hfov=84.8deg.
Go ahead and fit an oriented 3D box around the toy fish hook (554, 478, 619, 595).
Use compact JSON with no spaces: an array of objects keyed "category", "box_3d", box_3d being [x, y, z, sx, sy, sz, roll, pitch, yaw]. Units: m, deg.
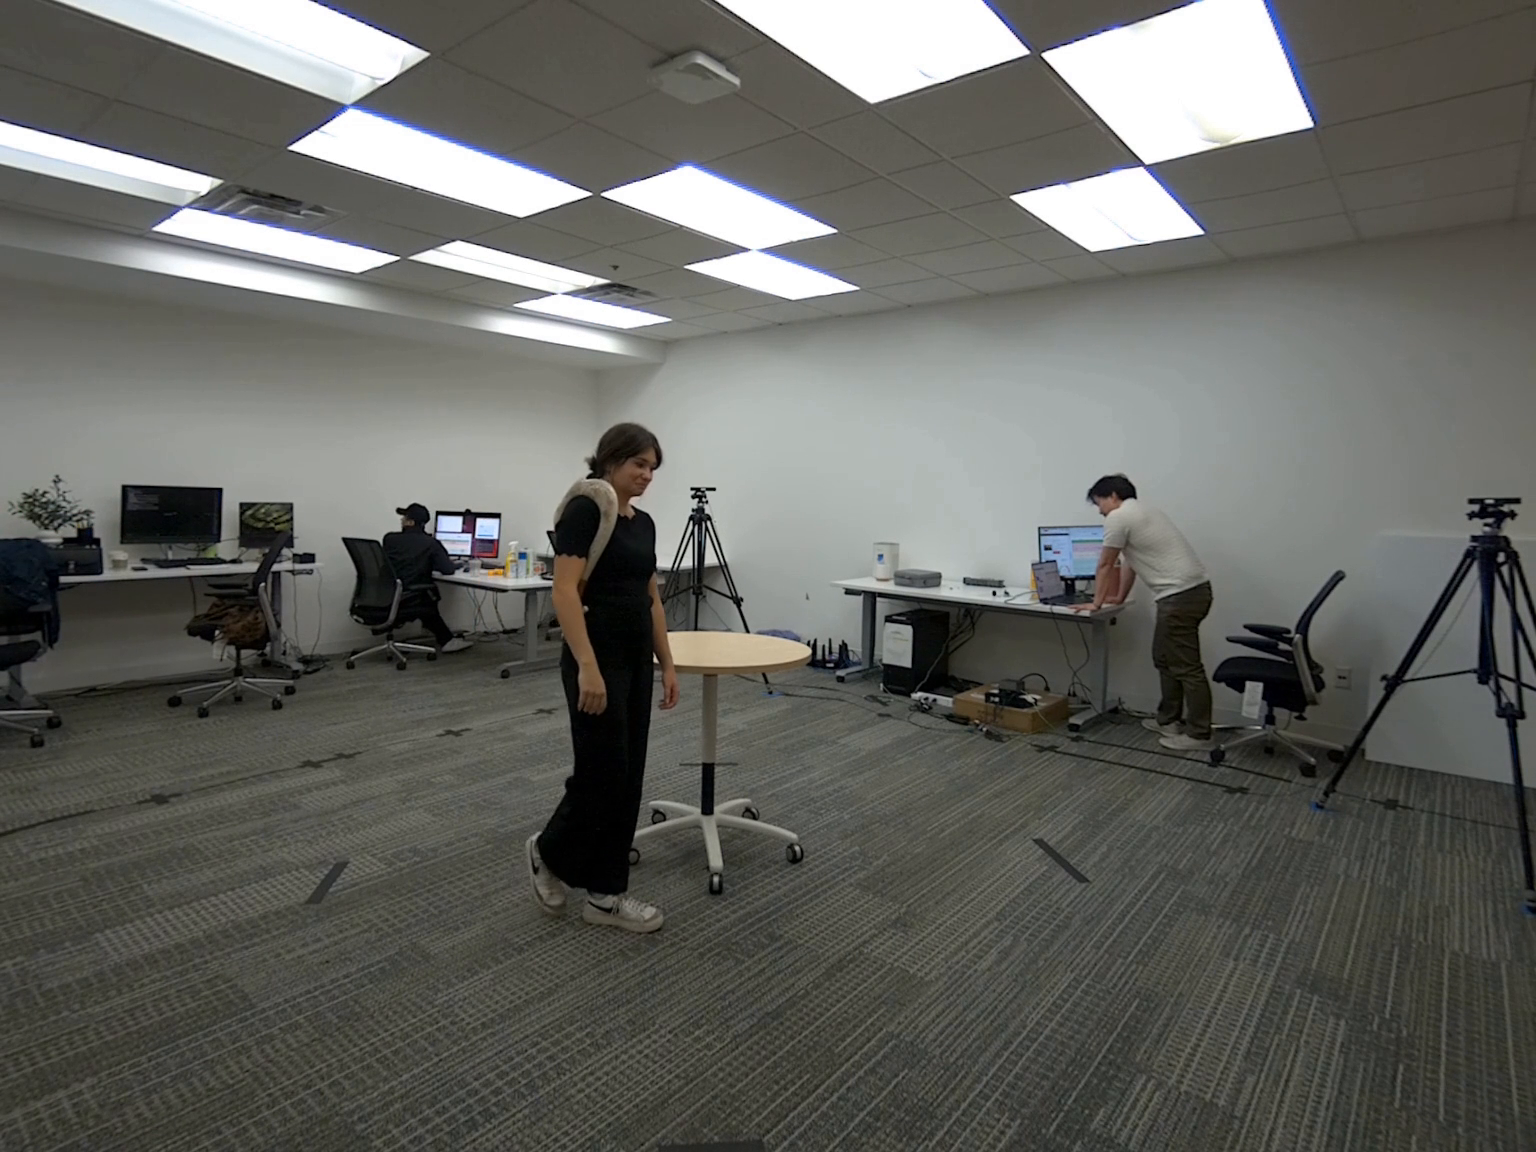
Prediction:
[{"category":"toy fish hook","box_3d":[-0.605,-0.058,2.601,0.232,0.508,0.046,9,-6,29]}]
